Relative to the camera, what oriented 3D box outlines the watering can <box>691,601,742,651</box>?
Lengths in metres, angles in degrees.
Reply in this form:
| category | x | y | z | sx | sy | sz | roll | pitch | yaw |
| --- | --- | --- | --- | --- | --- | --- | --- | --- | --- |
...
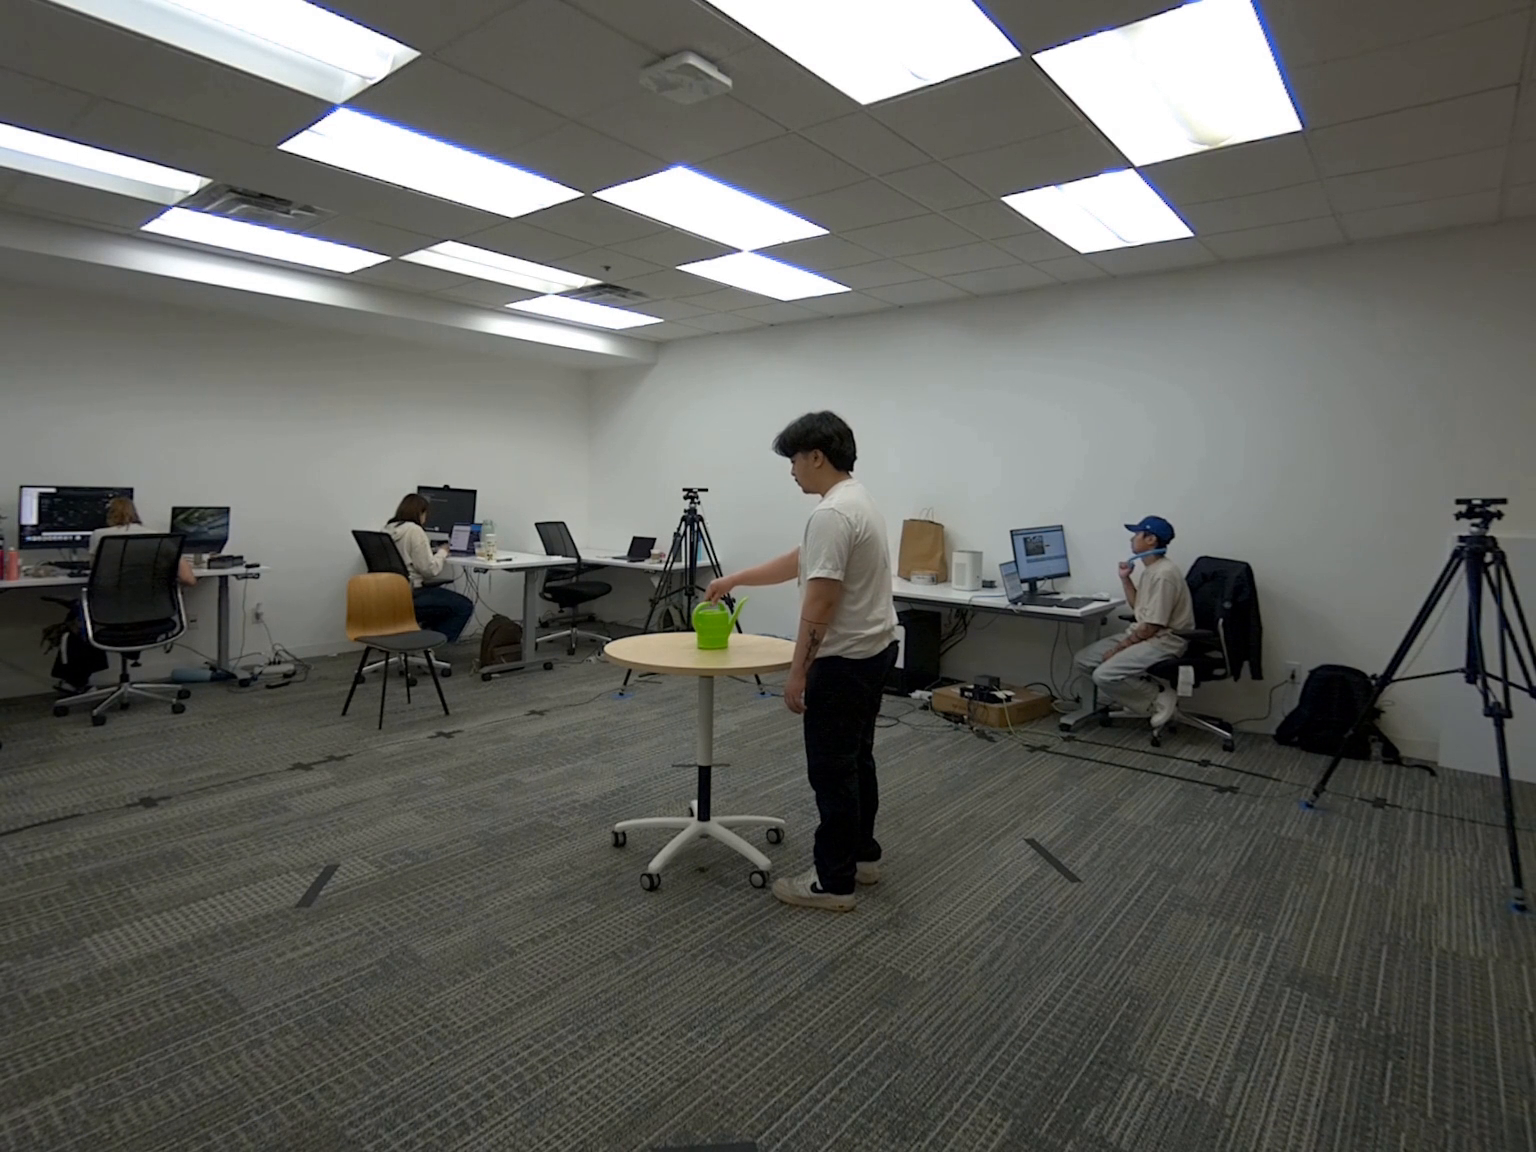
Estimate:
| category | x | y | z | sx | sy | sz | roll | pitch | yaw |
| --- | --- | --- | --- | --- | --- | --- | --- | --- | --- |
| watering can | -0.181 | 0.181 | 3.226 | 0.271 | 0.176 | 0.101 | -2 | 5 | -26 |
